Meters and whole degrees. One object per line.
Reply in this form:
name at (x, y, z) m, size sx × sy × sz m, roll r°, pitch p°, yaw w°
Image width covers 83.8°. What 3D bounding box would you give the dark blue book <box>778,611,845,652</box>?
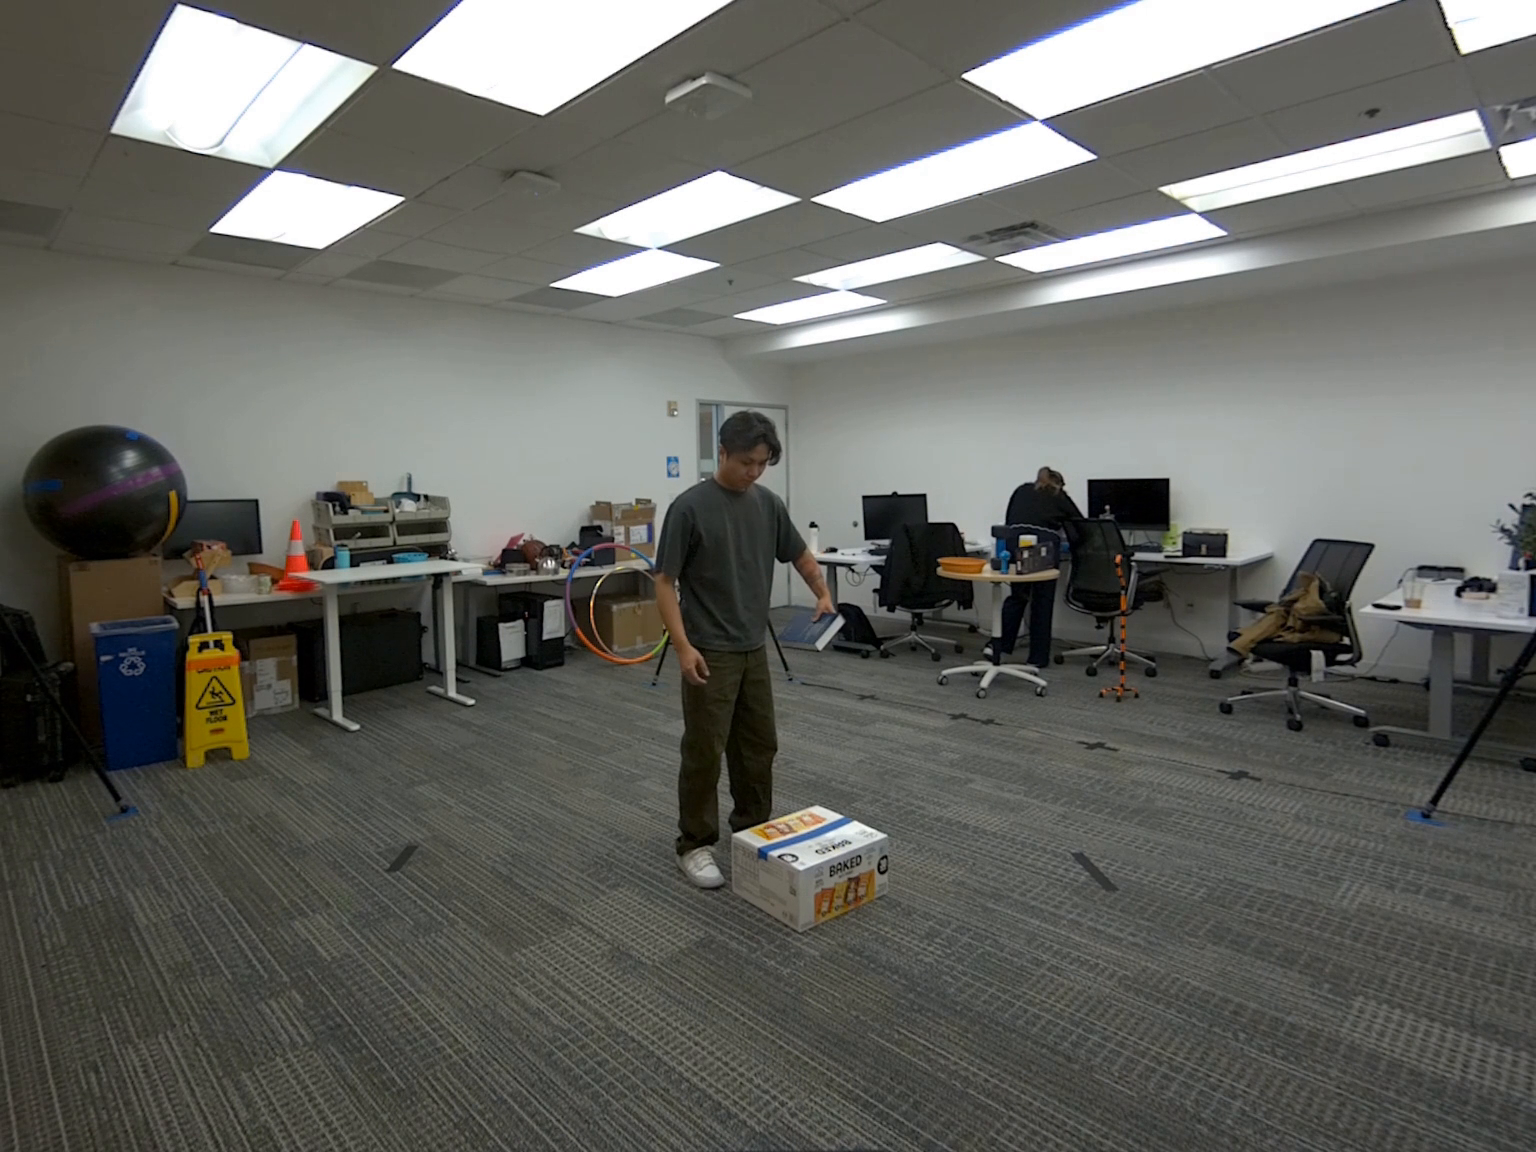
dark blue book at (0.146, 0.207, 3.152) m, size 0.163 × 0.044 × 0.251 m, roll -46°, pitch 23°, yaw -22°
